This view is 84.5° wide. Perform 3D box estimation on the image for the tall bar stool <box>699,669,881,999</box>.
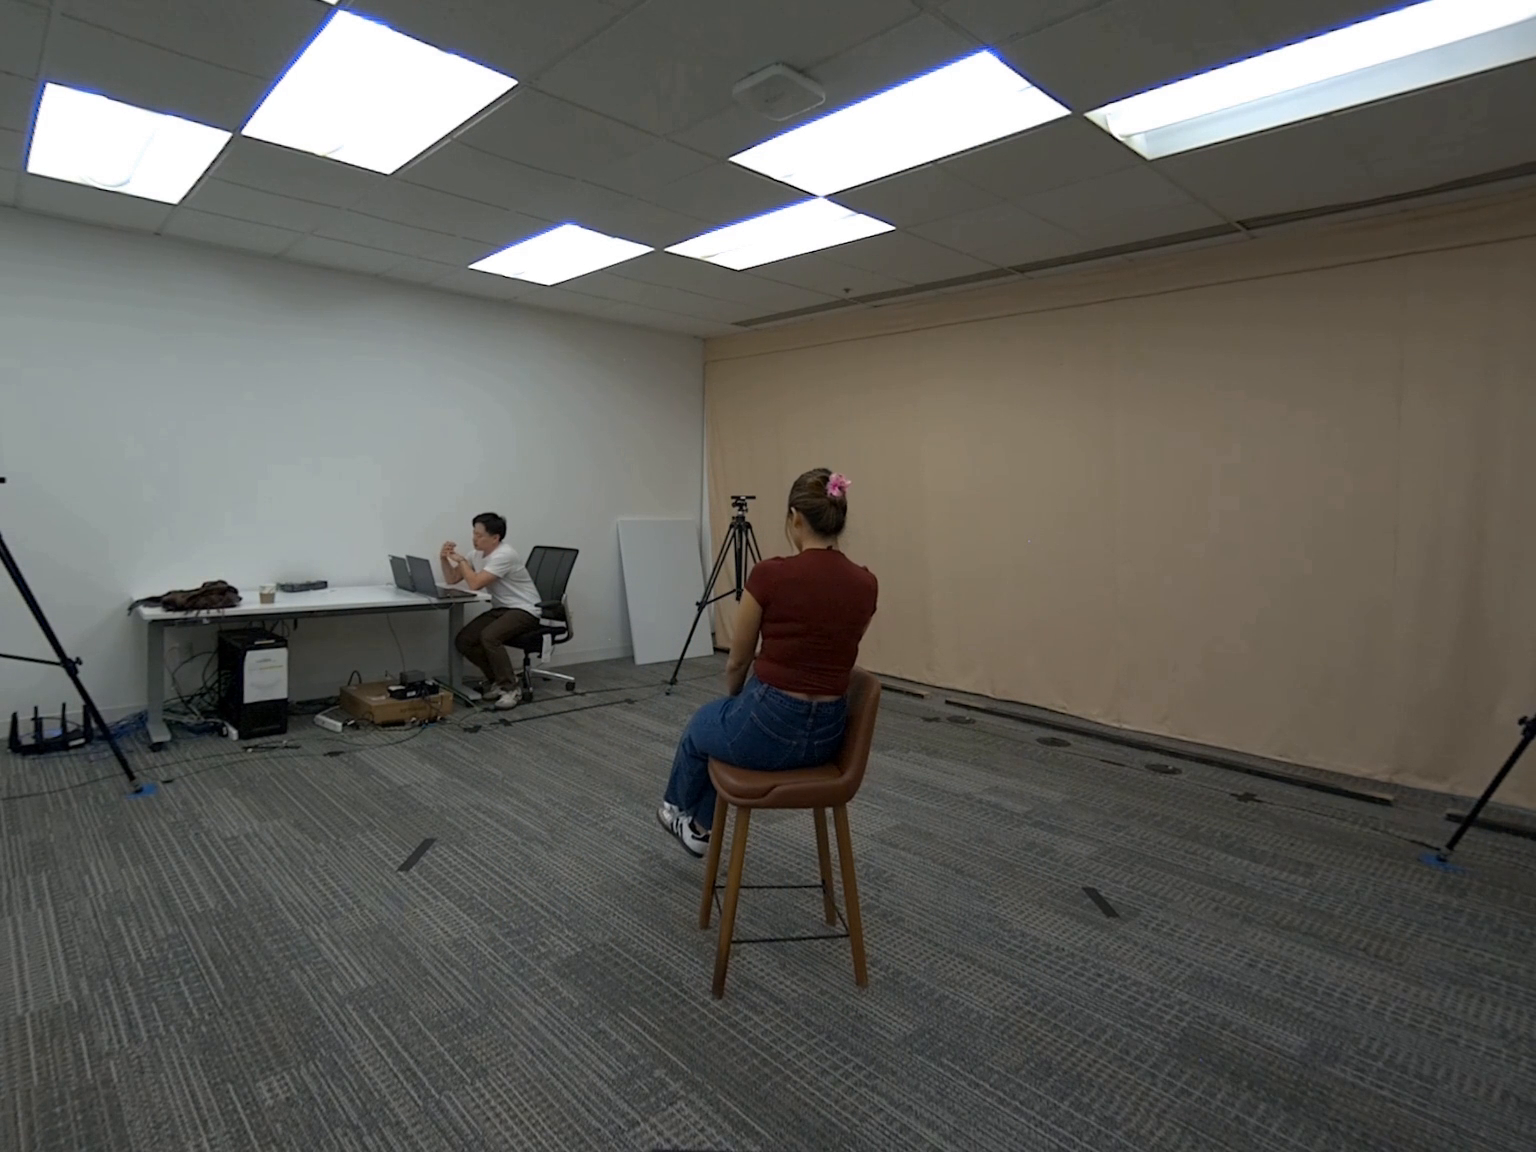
[{"bbox_3d":[0.051,0.729,2.532,0.464,0.887,0.461,2,4,-10],"label":"tall bar stool"}]
